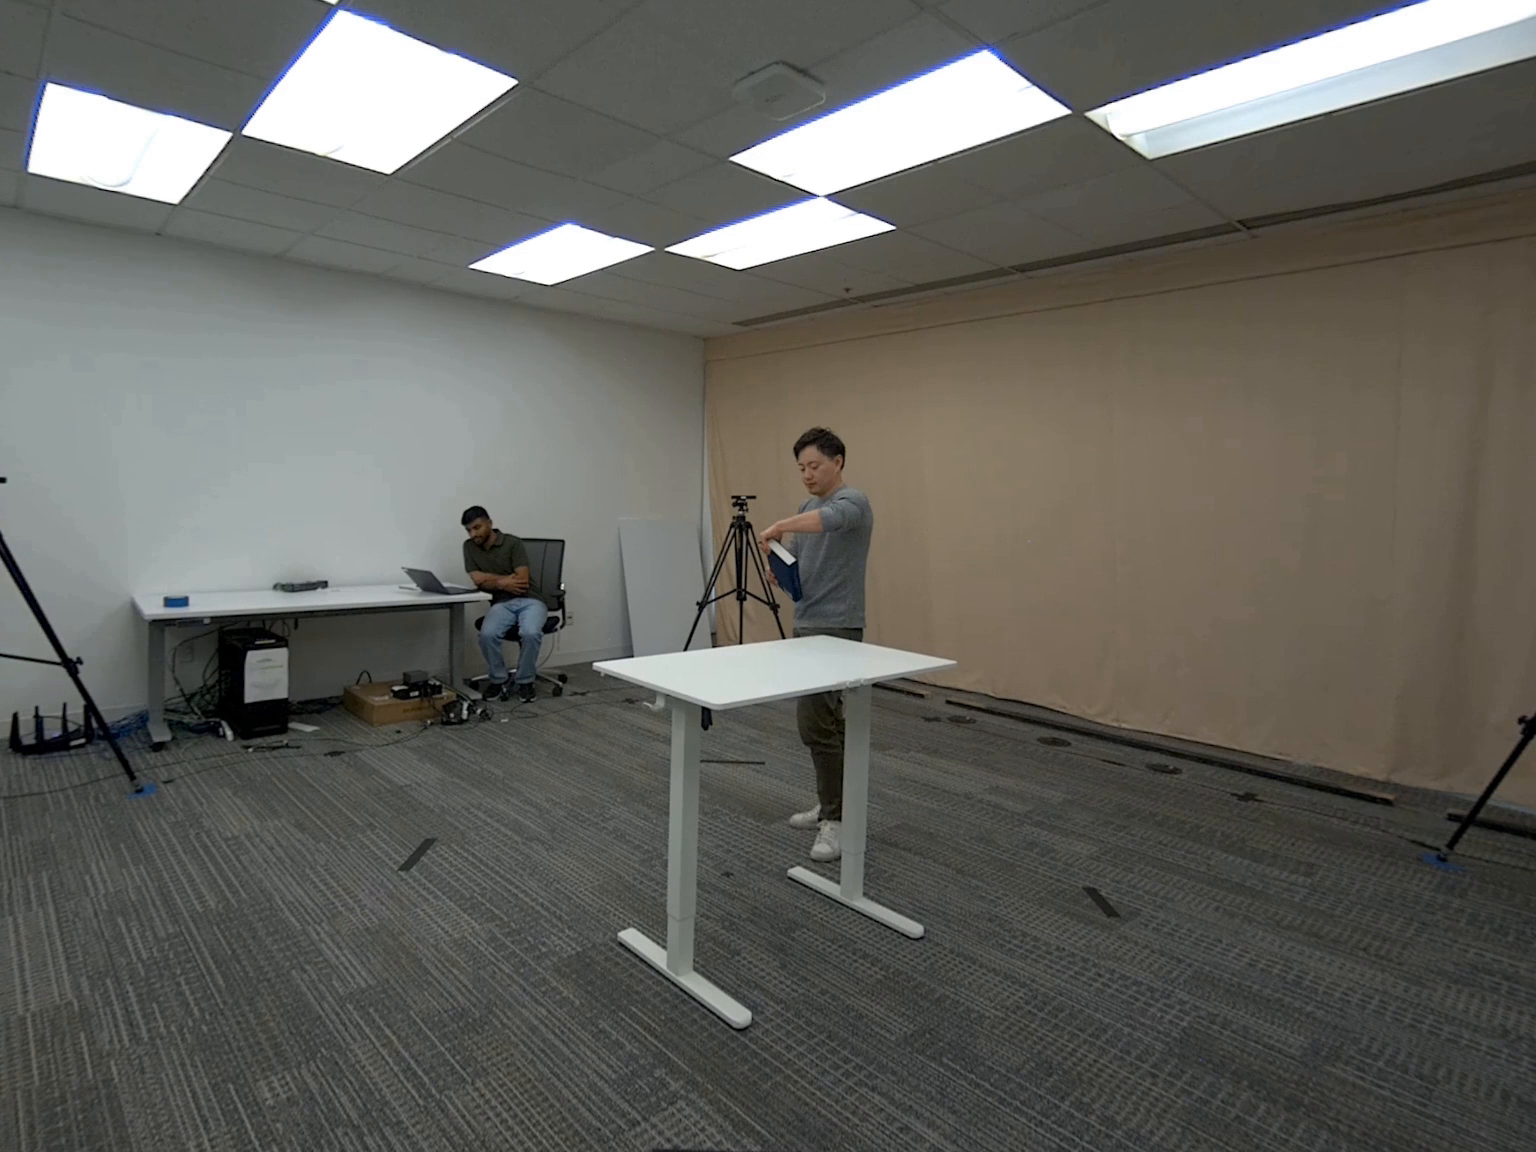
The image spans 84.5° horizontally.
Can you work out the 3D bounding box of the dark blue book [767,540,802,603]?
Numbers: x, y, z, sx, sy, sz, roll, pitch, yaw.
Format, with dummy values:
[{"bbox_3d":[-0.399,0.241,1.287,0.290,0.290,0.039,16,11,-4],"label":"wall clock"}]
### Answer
[{"bbox_3d":[0.056,-0.022,3.322,0.045,0.238,0.168,-34,52,-12],"label":"dark blue book"}]
